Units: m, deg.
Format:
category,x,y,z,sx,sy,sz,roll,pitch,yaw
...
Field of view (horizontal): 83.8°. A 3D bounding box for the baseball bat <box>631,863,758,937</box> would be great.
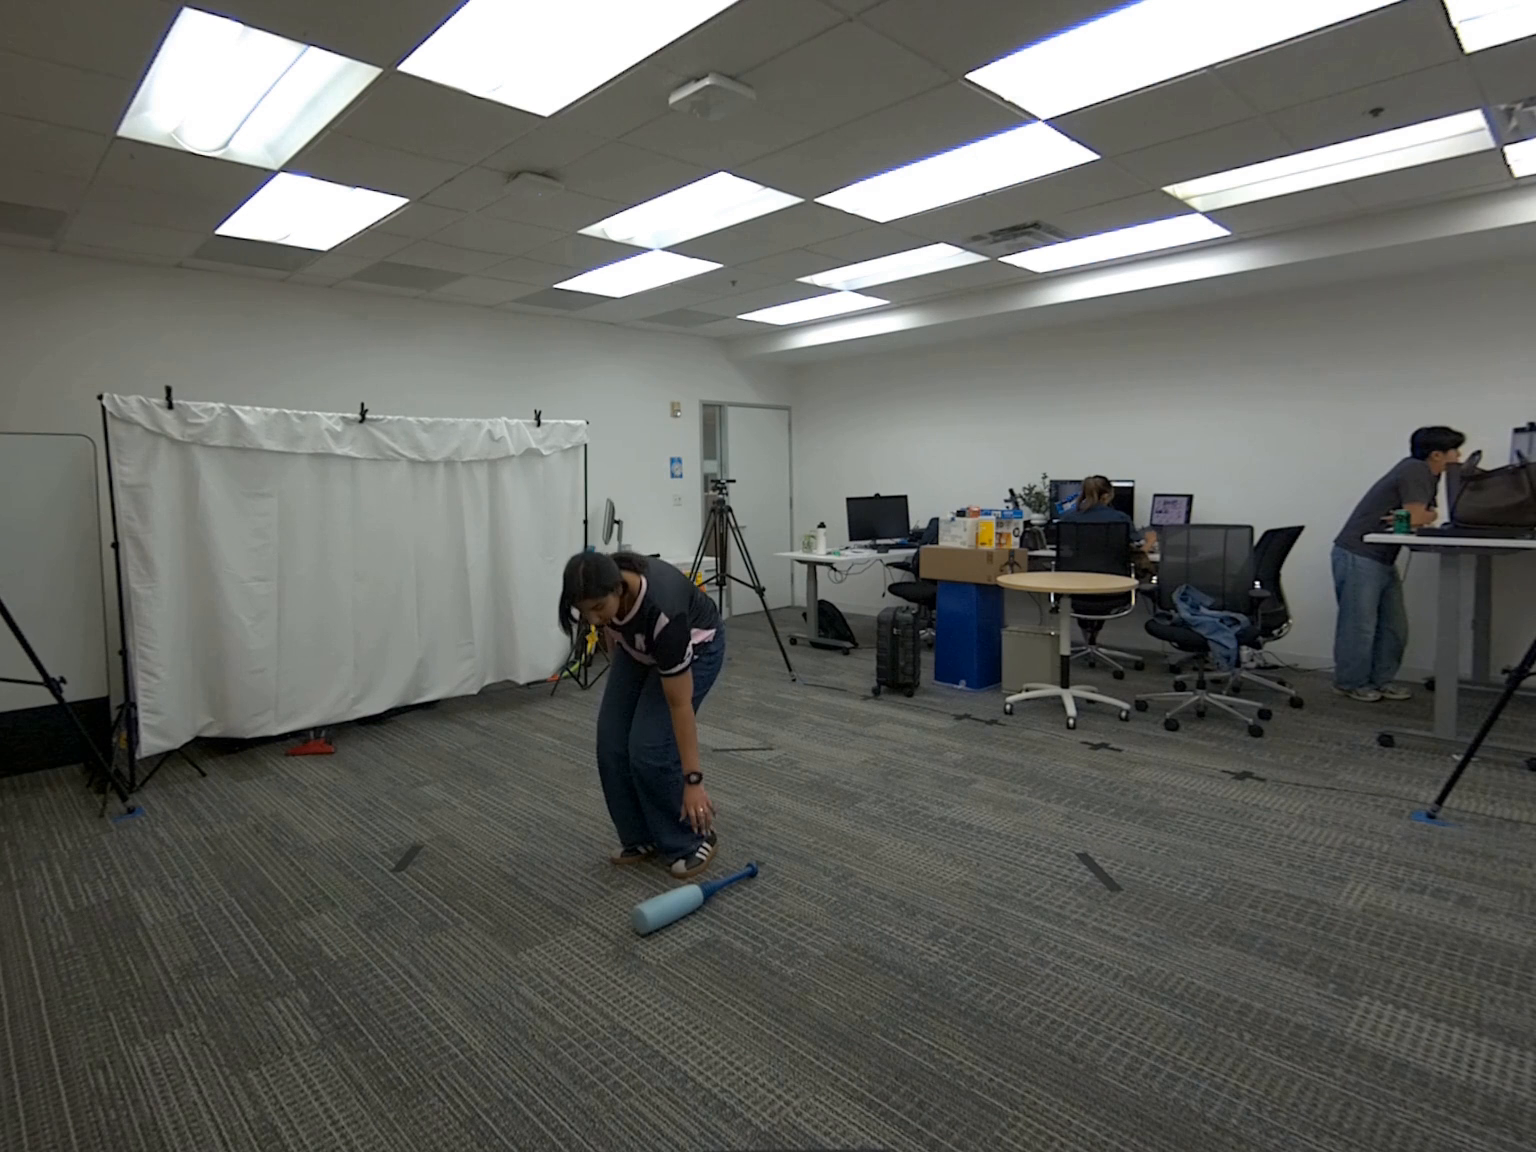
category,x,y,z,sx,sy,sz,roll,pitch,yaw
baseball bat,-0.222,1.045,2.816,0.092,0.089,0.528,3,5,43
